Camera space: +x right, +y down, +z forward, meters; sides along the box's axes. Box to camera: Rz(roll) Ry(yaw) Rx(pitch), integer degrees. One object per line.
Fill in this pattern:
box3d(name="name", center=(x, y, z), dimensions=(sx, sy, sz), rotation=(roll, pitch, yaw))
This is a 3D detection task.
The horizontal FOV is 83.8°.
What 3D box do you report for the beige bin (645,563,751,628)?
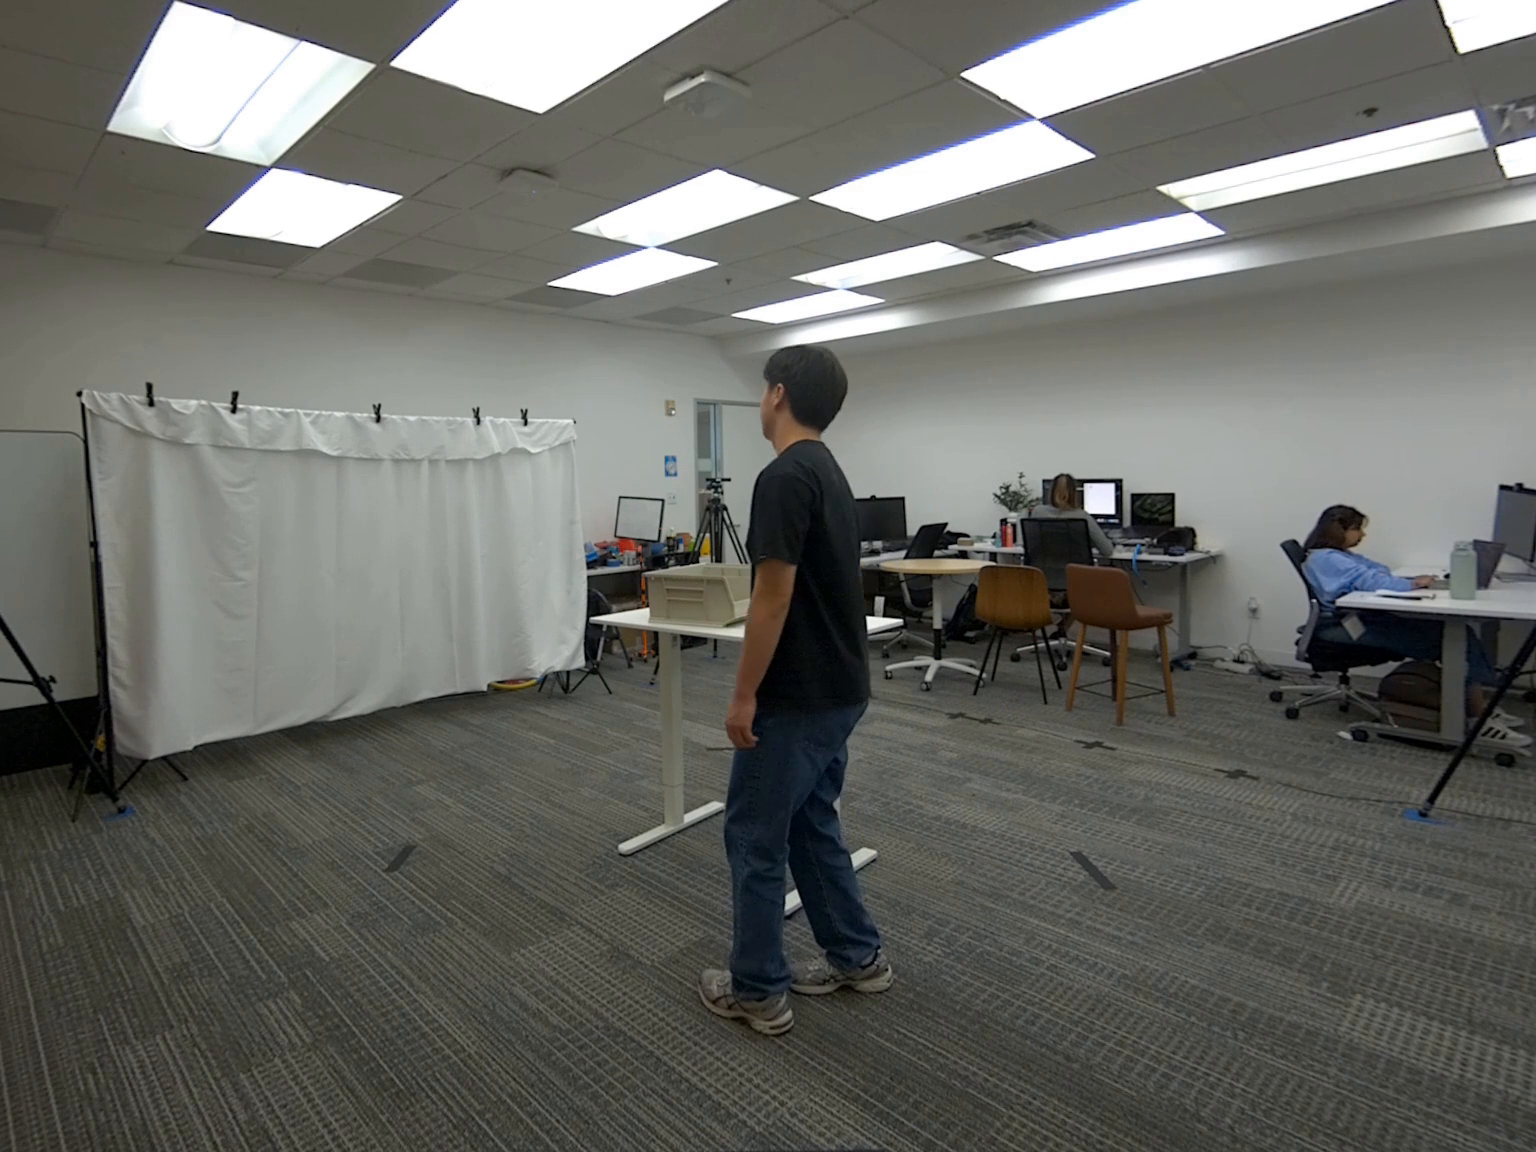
box3d(name="beige bin", center=(-0.188, 0.069, 3.170), dimensions=(0.386, 0.188, 0.414), rotation=(0, 5, 27))
